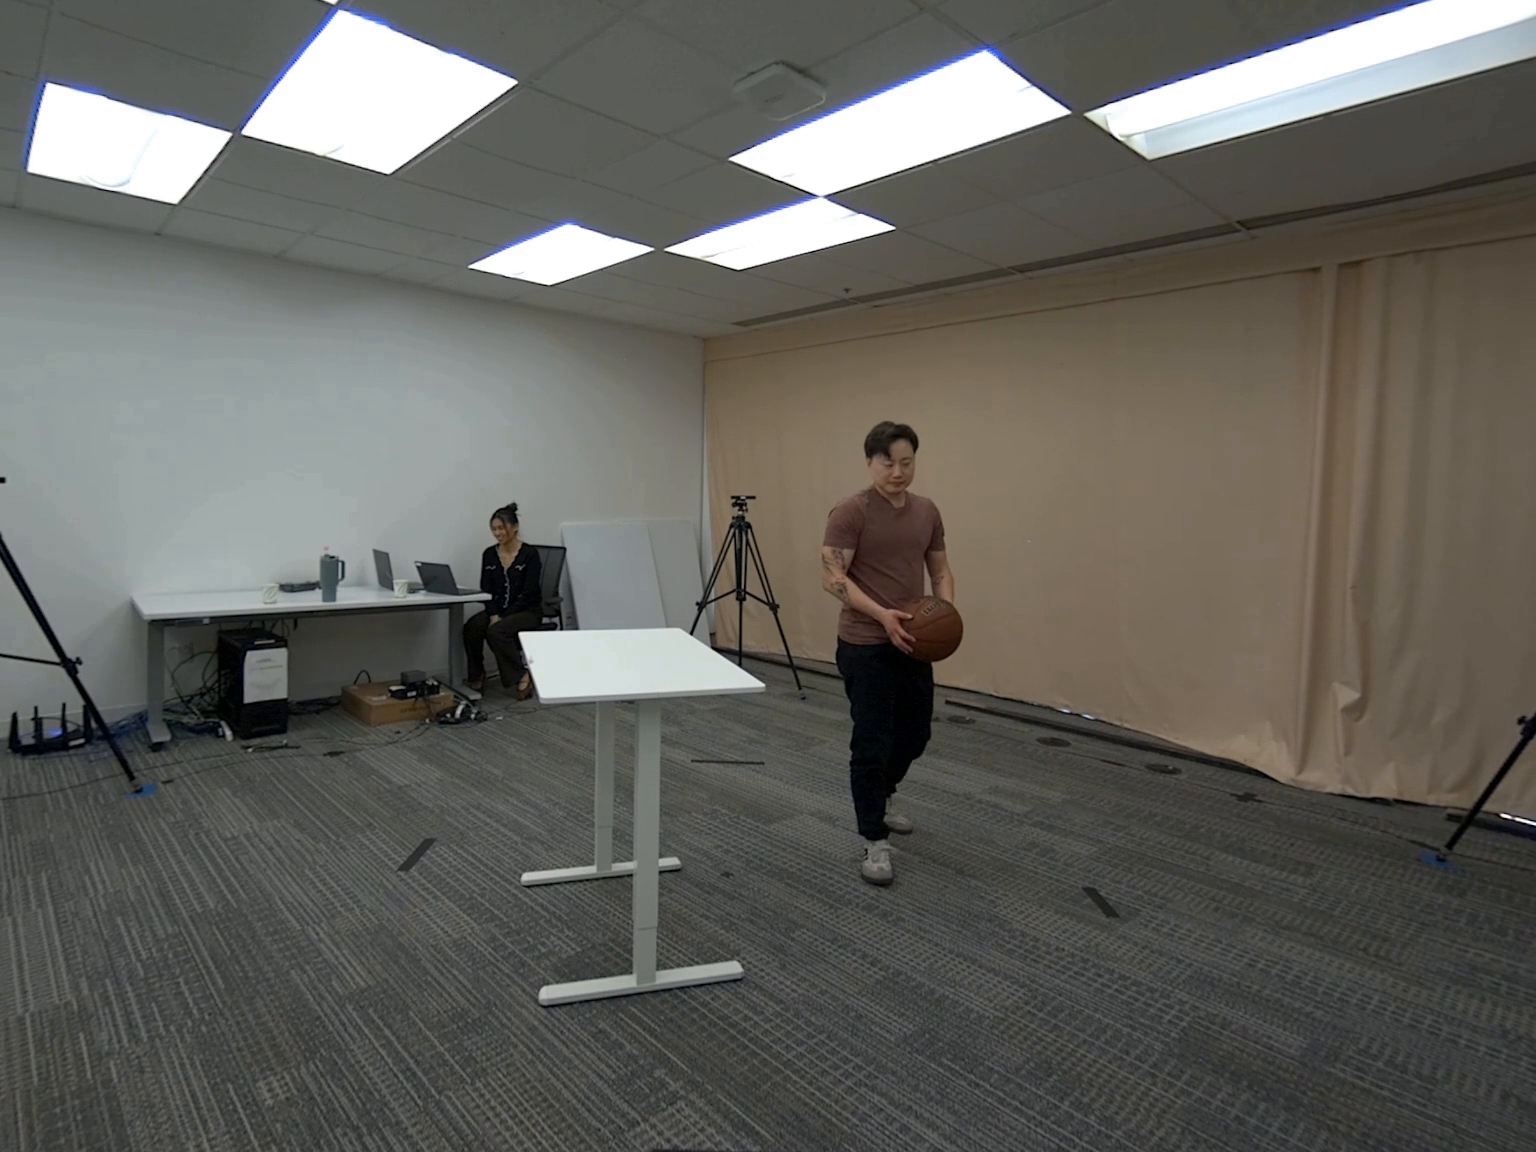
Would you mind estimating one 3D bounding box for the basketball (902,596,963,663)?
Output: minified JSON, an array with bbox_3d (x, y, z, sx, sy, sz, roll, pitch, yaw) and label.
[{"bbox_3d":[0.544,0.188,2.985,0.236,0.235,0.237,1,4,-1],"label":"basketball"}]
